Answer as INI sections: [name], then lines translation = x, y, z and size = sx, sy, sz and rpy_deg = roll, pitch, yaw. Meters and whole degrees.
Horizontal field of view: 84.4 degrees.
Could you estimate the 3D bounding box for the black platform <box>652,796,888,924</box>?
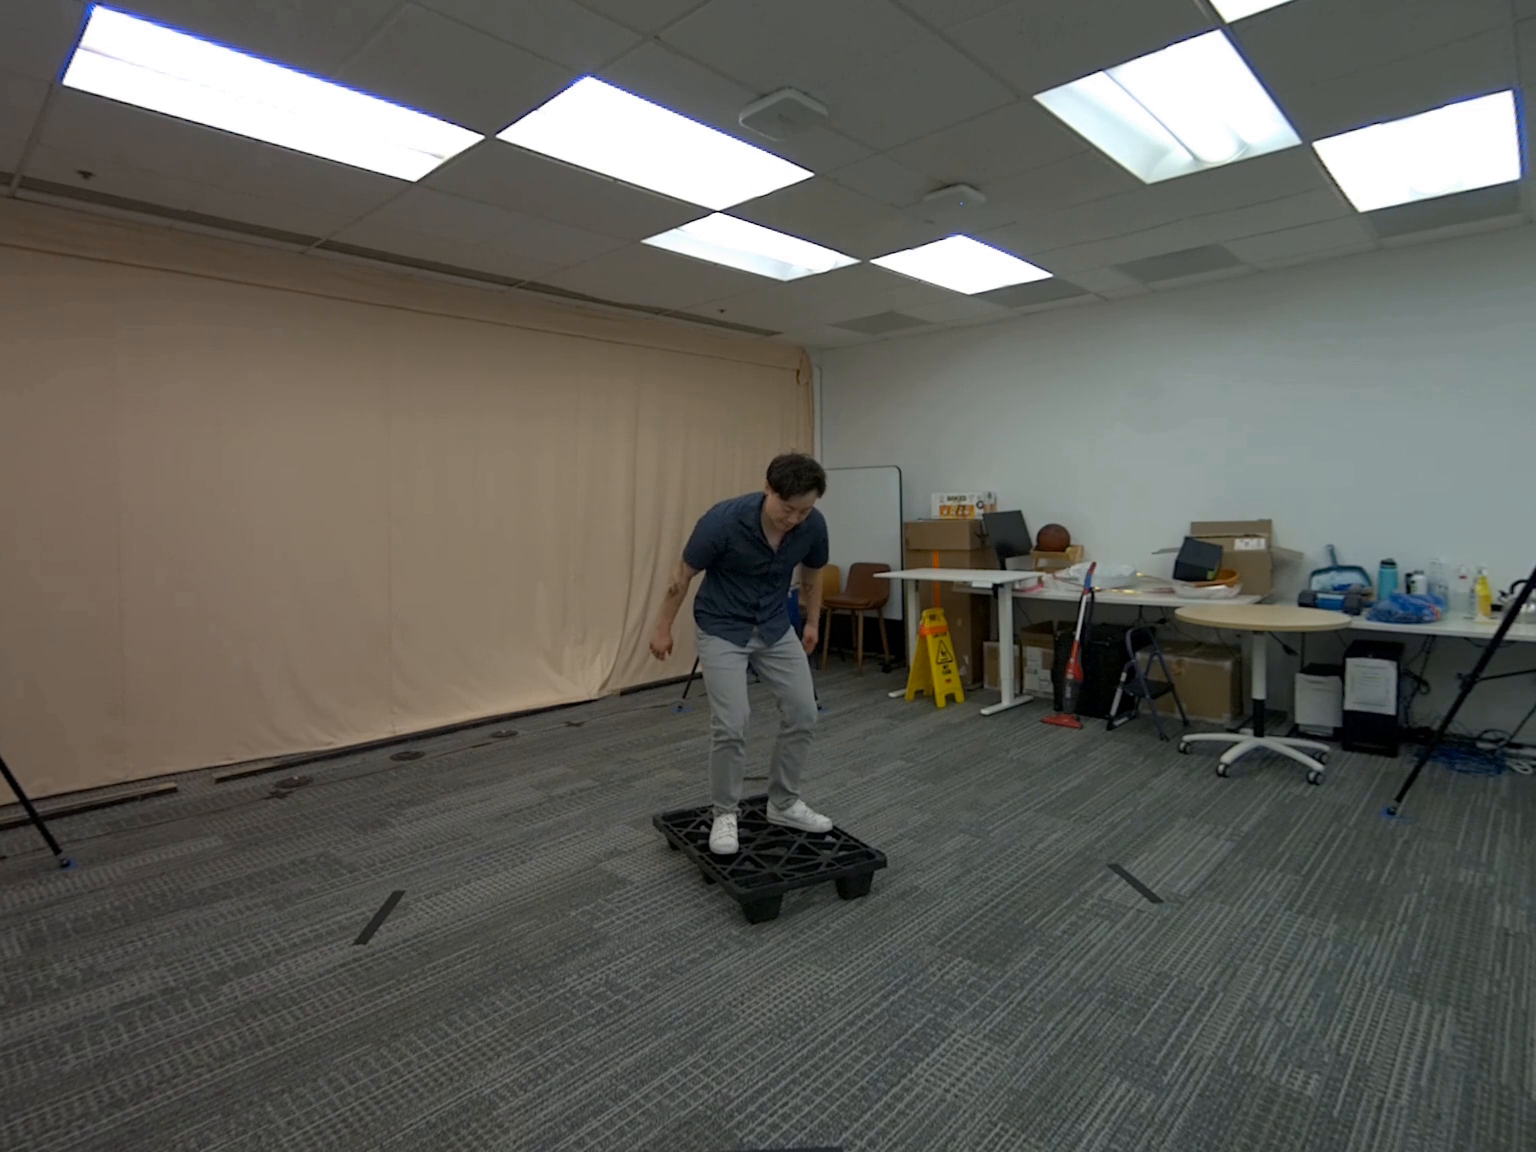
[black platform]
translation = -0.018, 1.052, 3.215
size = 0.590, 0.143, 0.827
rpy_deg = -3, 5, -27
